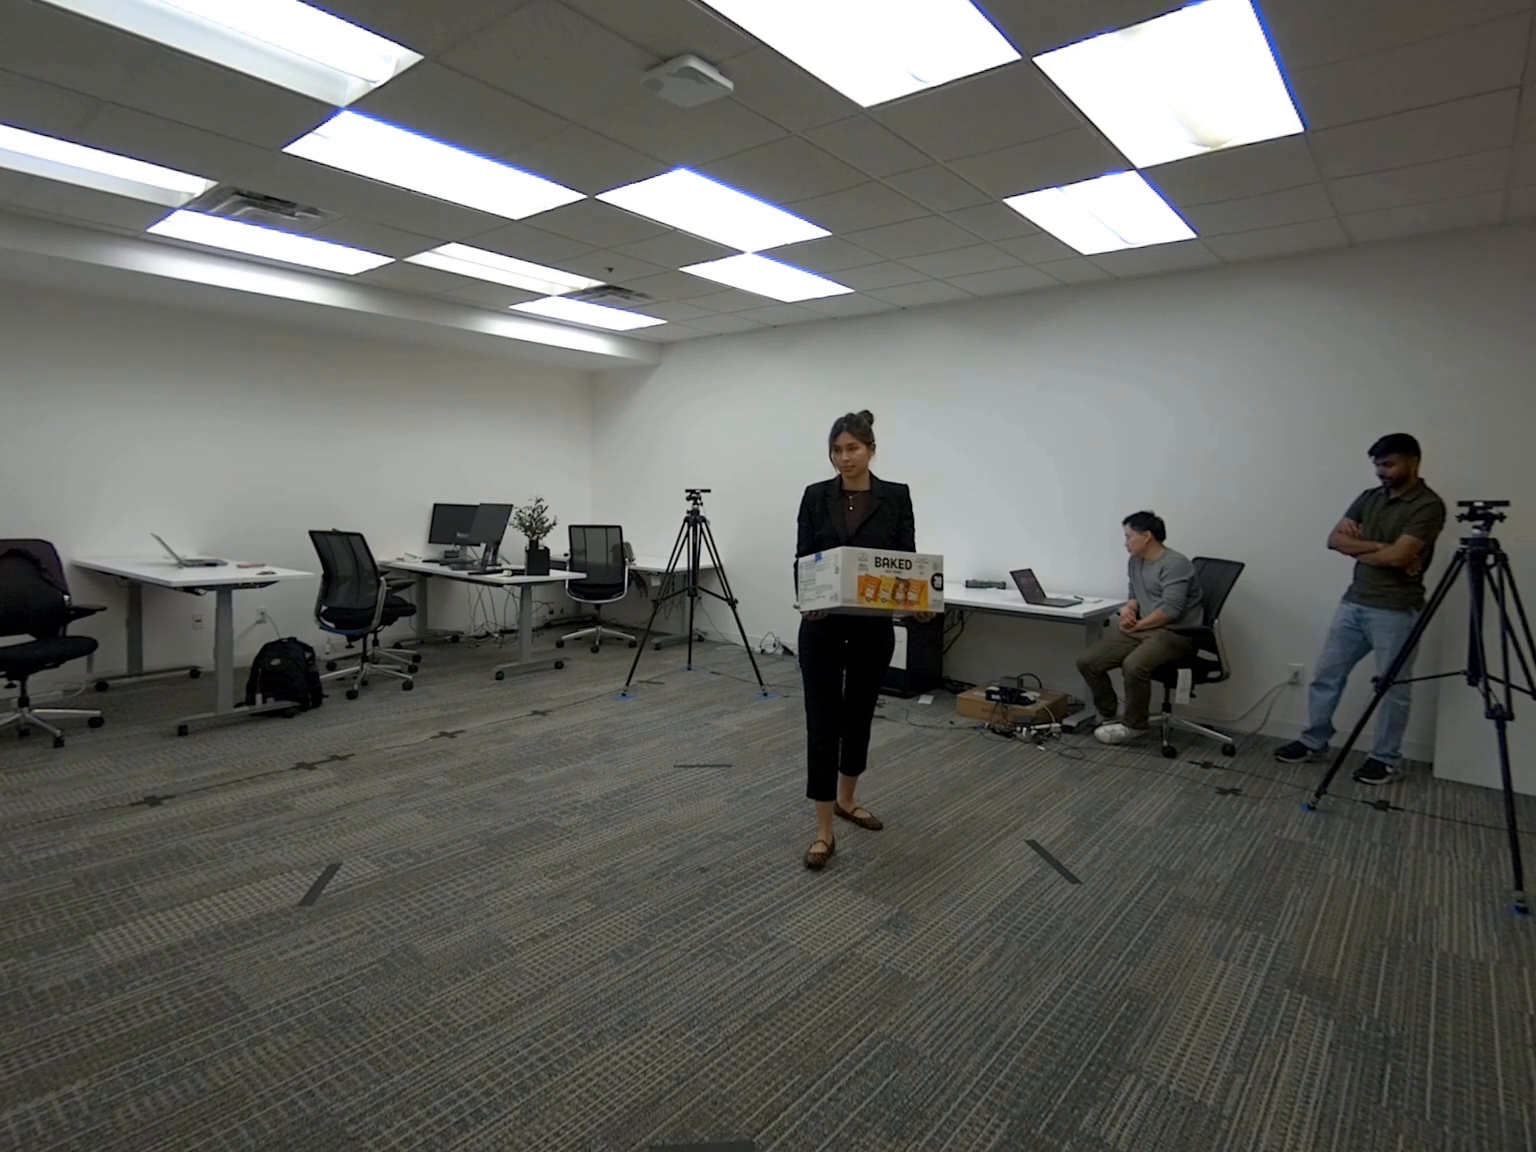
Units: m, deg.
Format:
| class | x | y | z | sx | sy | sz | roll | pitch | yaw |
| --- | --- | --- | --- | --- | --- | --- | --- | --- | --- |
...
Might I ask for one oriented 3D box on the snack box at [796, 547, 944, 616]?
| class | x | y | z | sx | sy | sz | roll | pitch | yaw |
| --- | --- | --- | --- | --- | --- | --- | --- | --- | --- |
| snack box | 0.357 | 0.026 | 3.046 | 0.396 | 0.207 | 0.345 | 4 | -8 | -21 |
